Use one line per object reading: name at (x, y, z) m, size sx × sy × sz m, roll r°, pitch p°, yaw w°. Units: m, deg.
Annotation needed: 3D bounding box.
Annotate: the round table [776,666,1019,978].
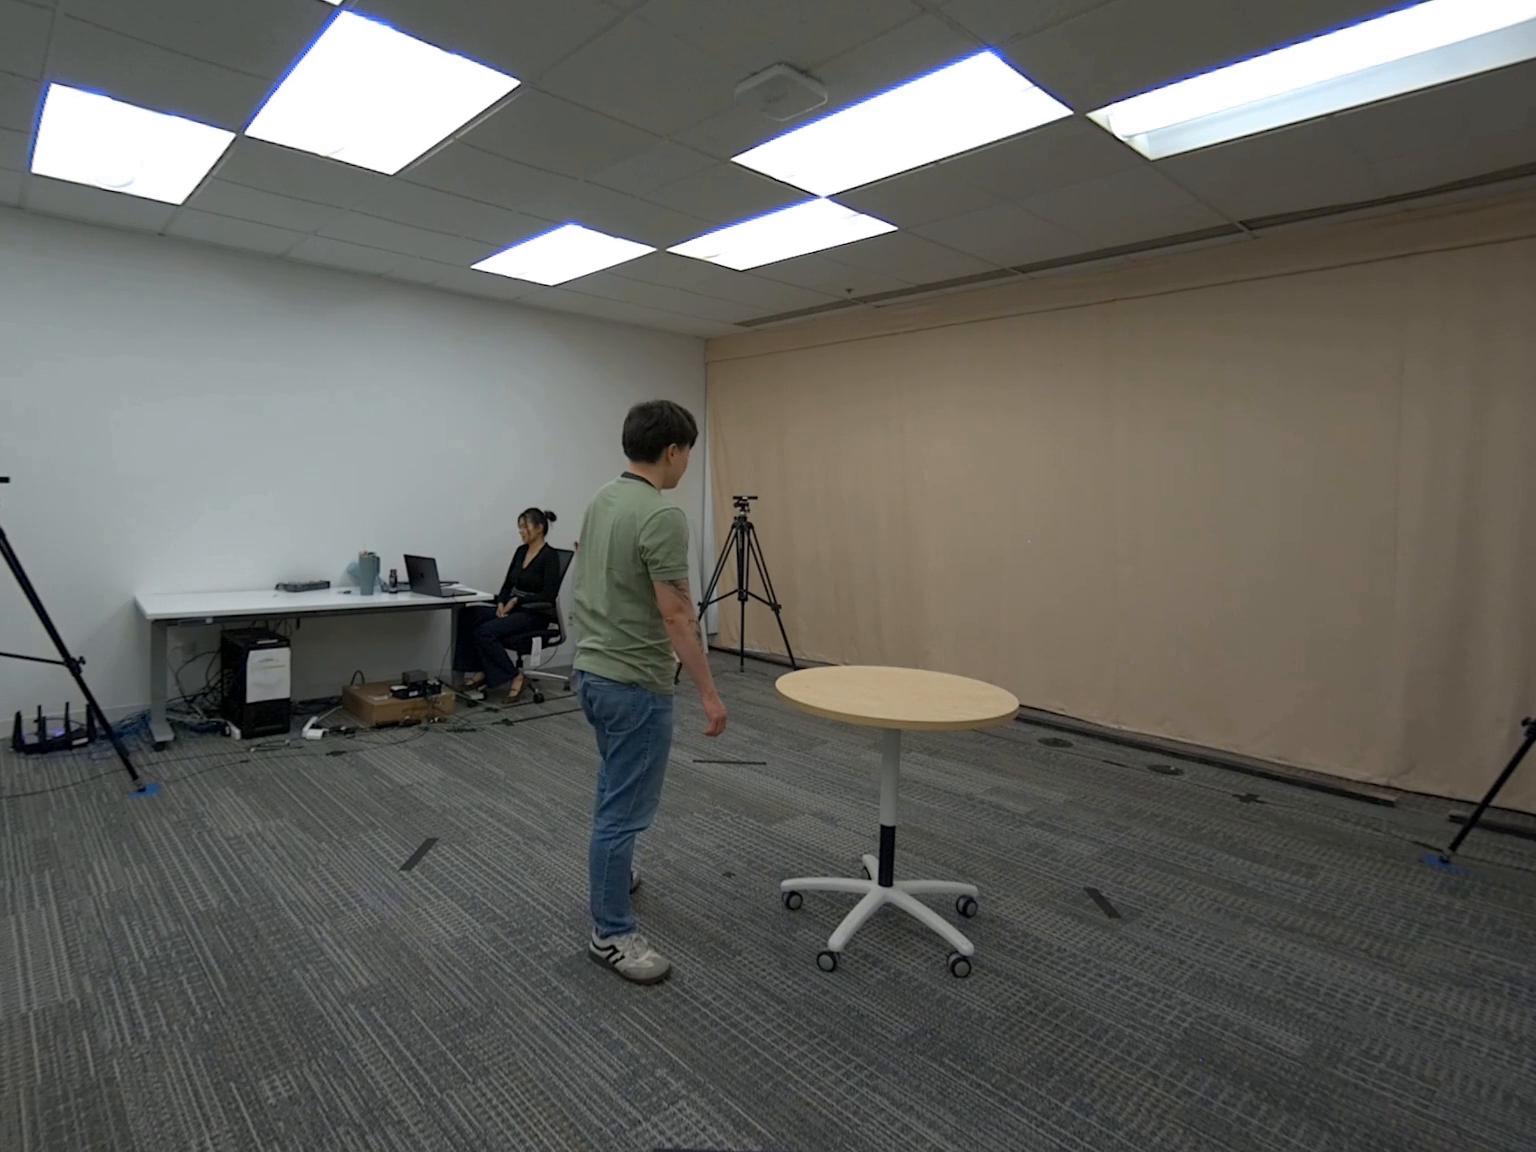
round table at (0.386, 0.762, 2.740) m, size 0.763 × 0.792 × 0.767 m, roll 2°, pitch 4°, yaw -2°
